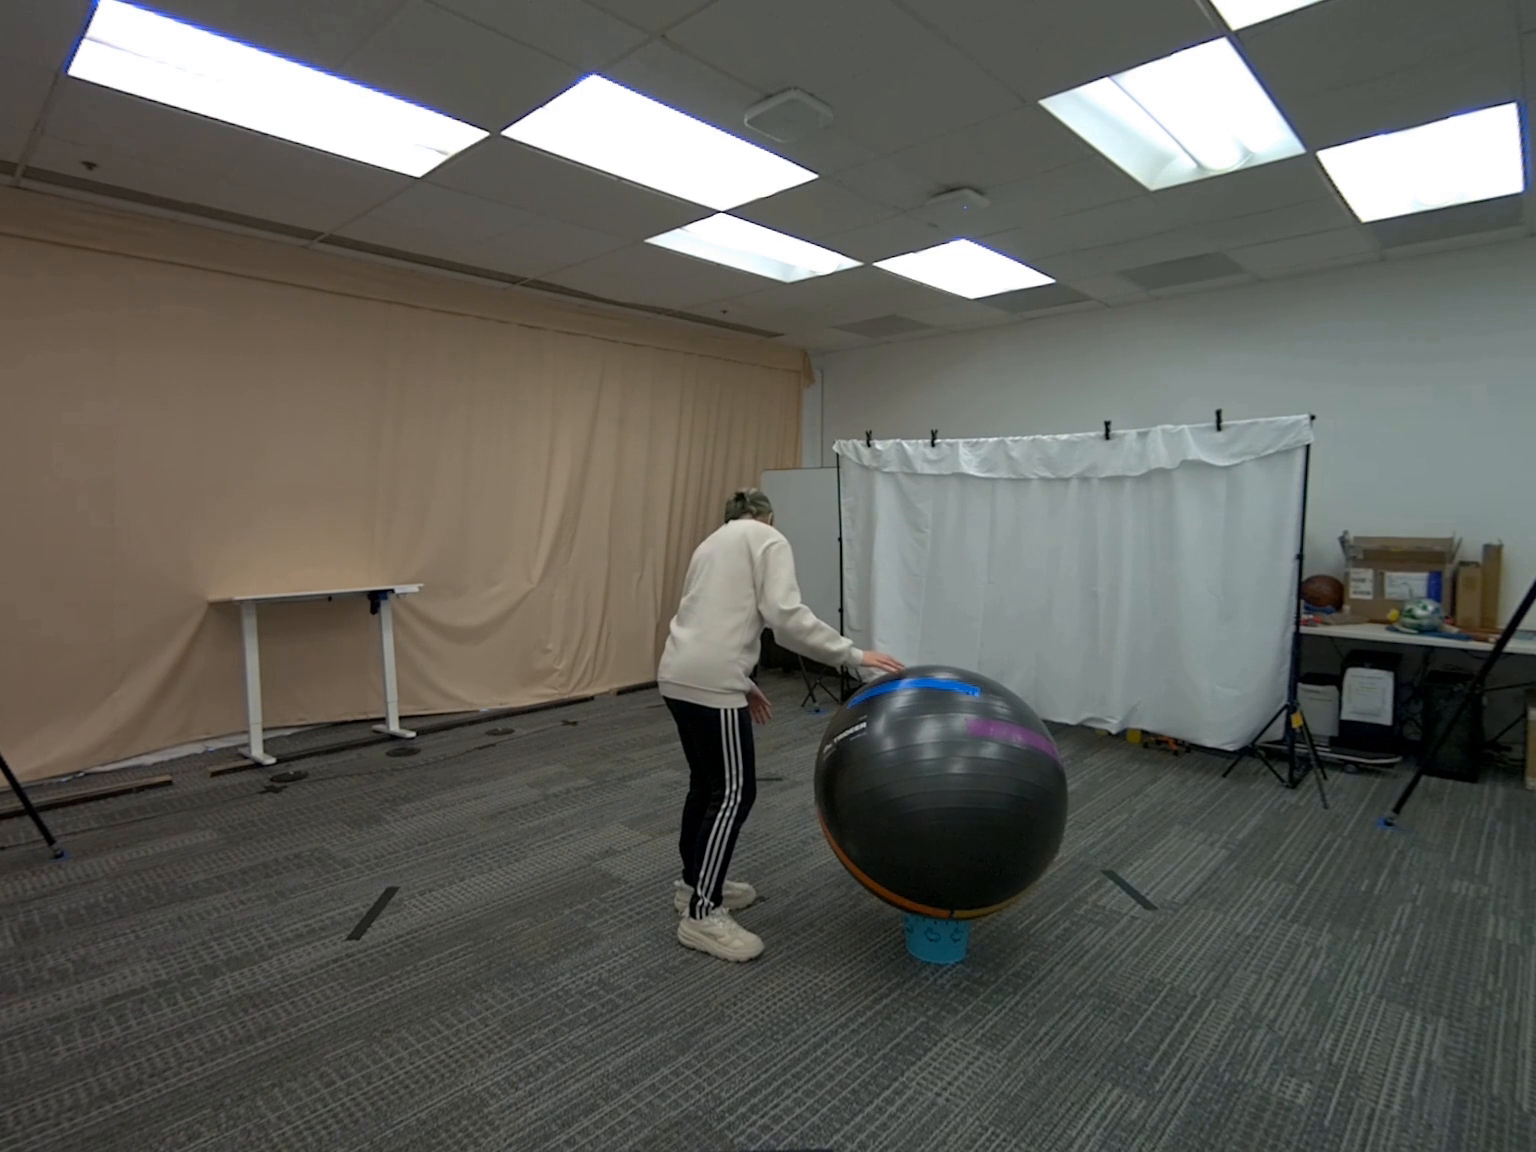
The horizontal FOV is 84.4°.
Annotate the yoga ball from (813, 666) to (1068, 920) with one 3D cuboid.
[{"bbox_3d":[0.540,0.663,2.621,0.757,0.756,0.760,0,4,-2],"label":"yoga ball"}]
